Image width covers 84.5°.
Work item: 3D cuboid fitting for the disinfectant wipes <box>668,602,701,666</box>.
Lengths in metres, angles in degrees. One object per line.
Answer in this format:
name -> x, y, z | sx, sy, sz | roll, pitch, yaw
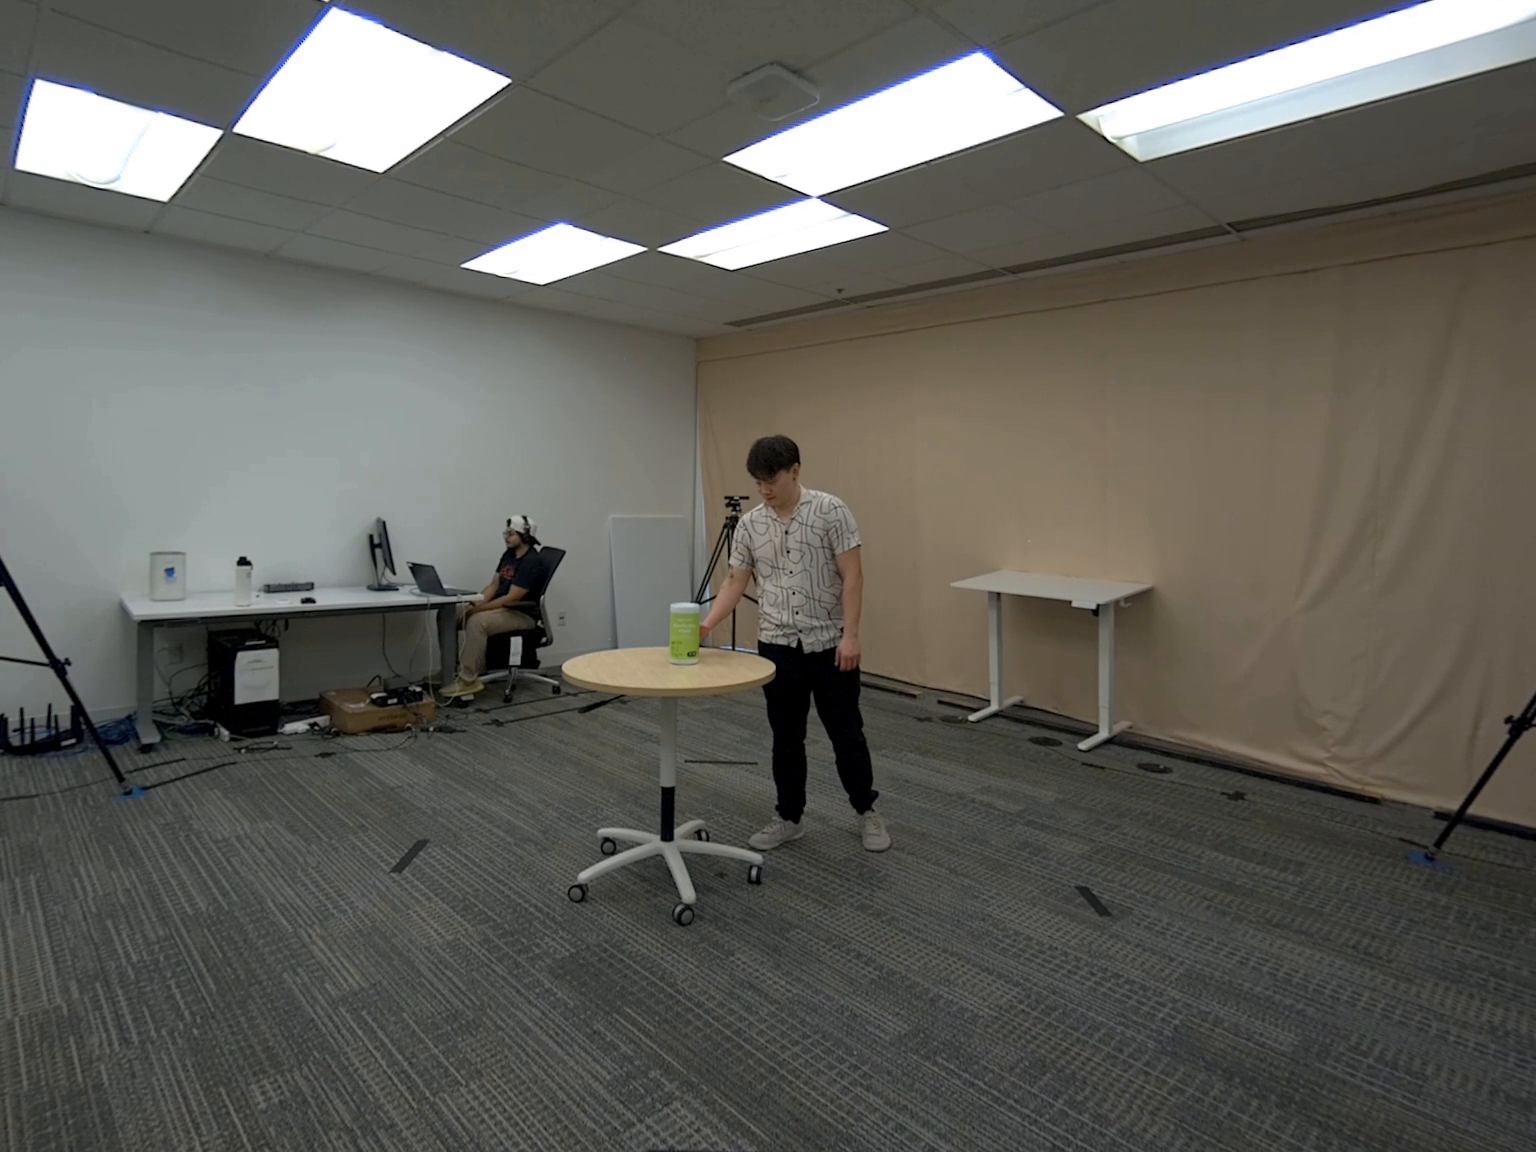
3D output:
disinfectant wipes -> -0.317, 0.214, 3.079 | 0.118, 0.217, 0.118 | 2, 3, -2
